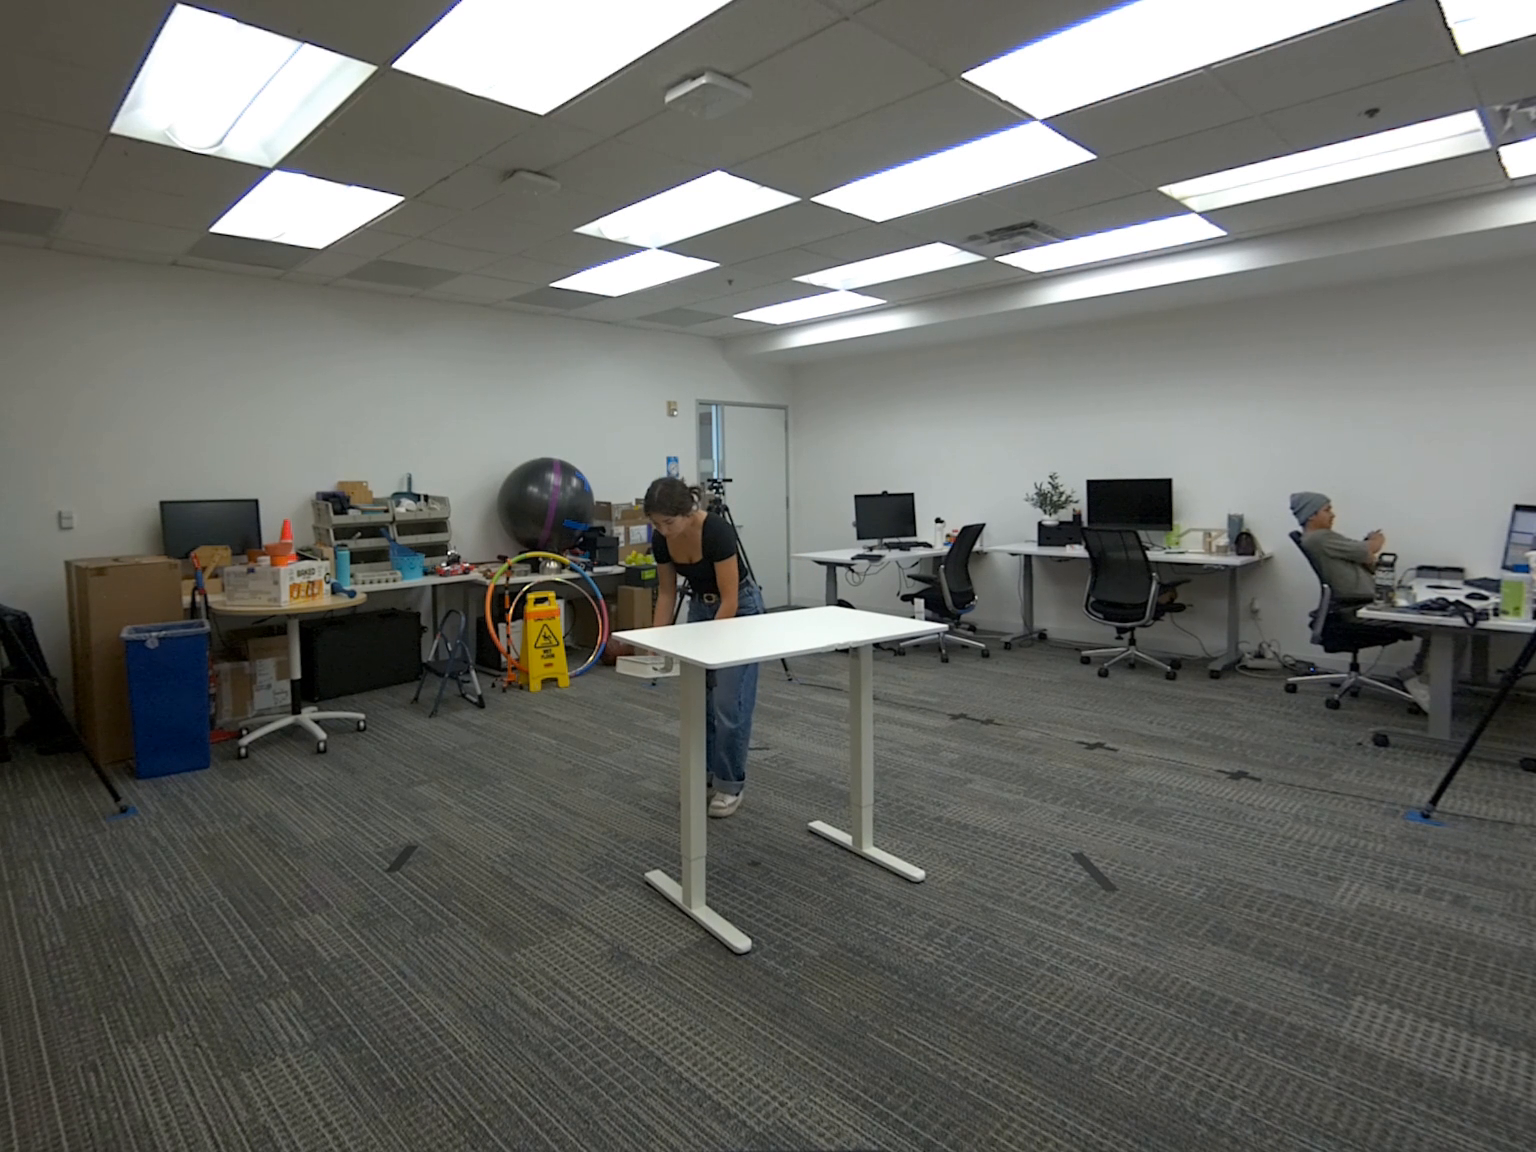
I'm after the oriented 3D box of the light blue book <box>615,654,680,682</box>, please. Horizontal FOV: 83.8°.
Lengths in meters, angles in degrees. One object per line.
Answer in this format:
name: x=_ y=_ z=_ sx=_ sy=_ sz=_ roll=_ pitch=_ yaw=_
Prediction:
light blue book: x=-0.453 y=0.368 z=3.434 sx=0.197 sy=0.059 sz=0.253 roll=5 pitch=3 yaw=42
